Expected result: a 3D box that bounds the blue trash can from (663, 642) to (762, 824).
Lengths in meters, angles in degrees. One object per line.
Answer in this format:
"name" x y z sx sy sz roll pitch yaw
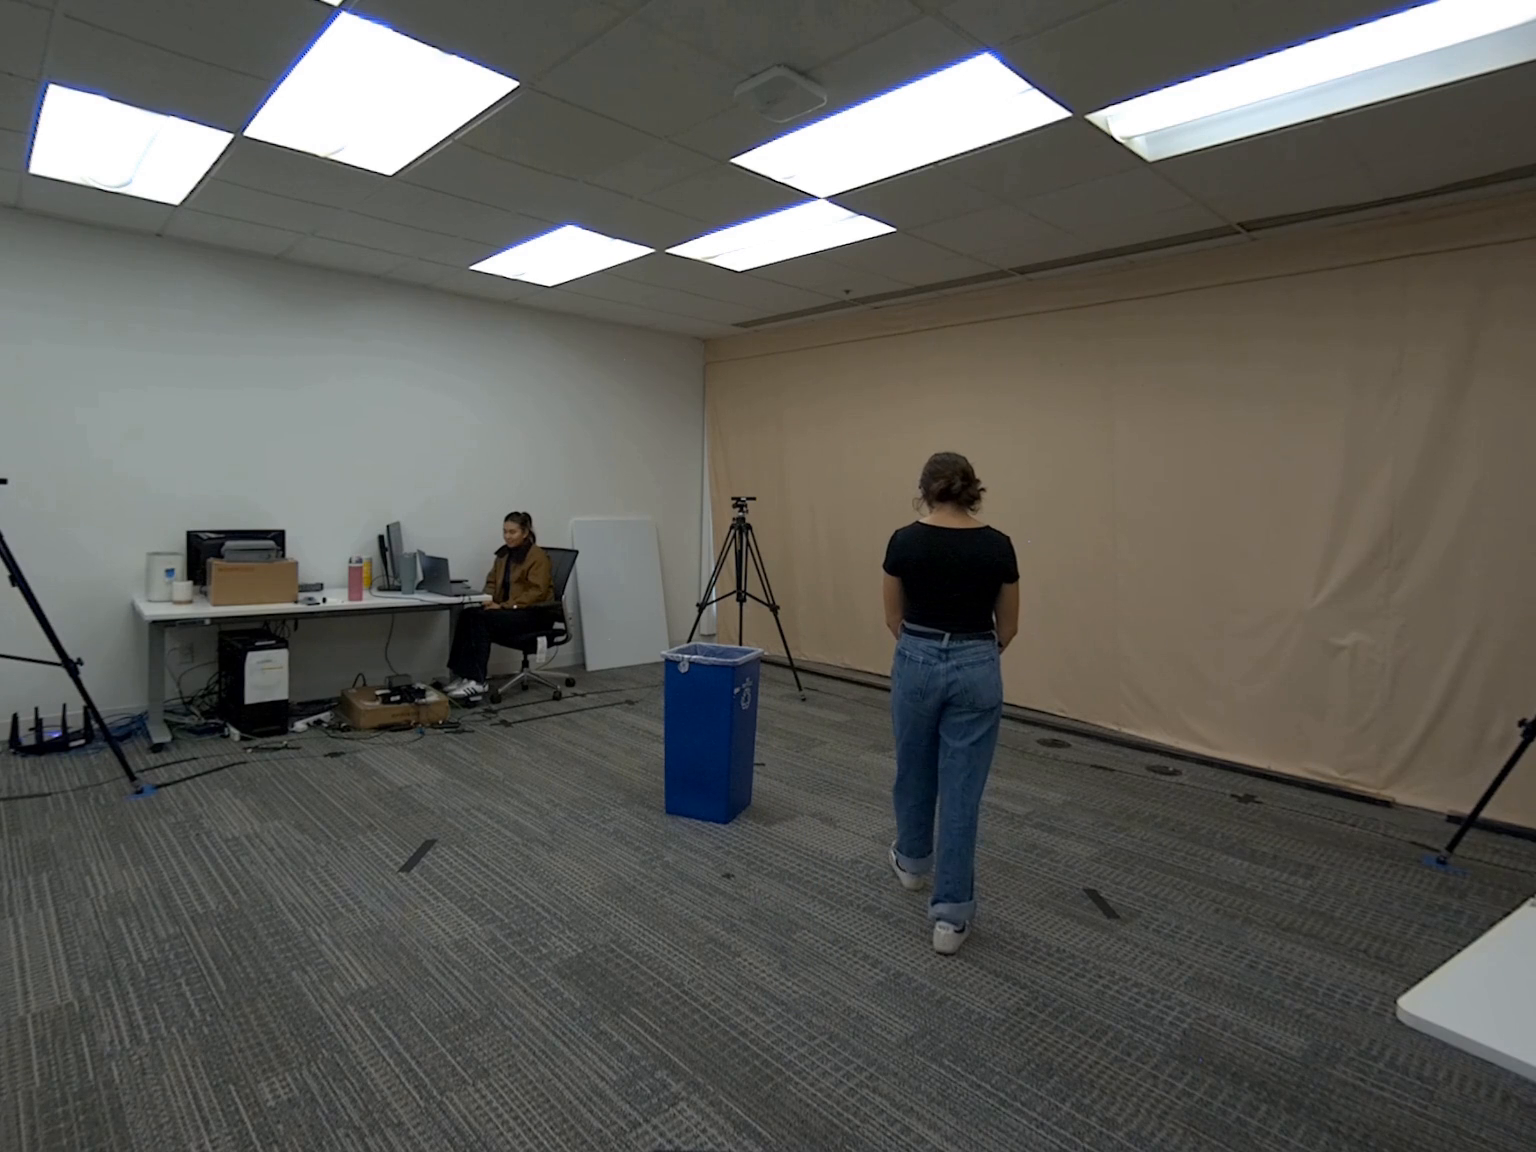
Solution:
"blue trash can" -0.262 0.688 3.781 0.384 0.712 0.368 3 4 21
